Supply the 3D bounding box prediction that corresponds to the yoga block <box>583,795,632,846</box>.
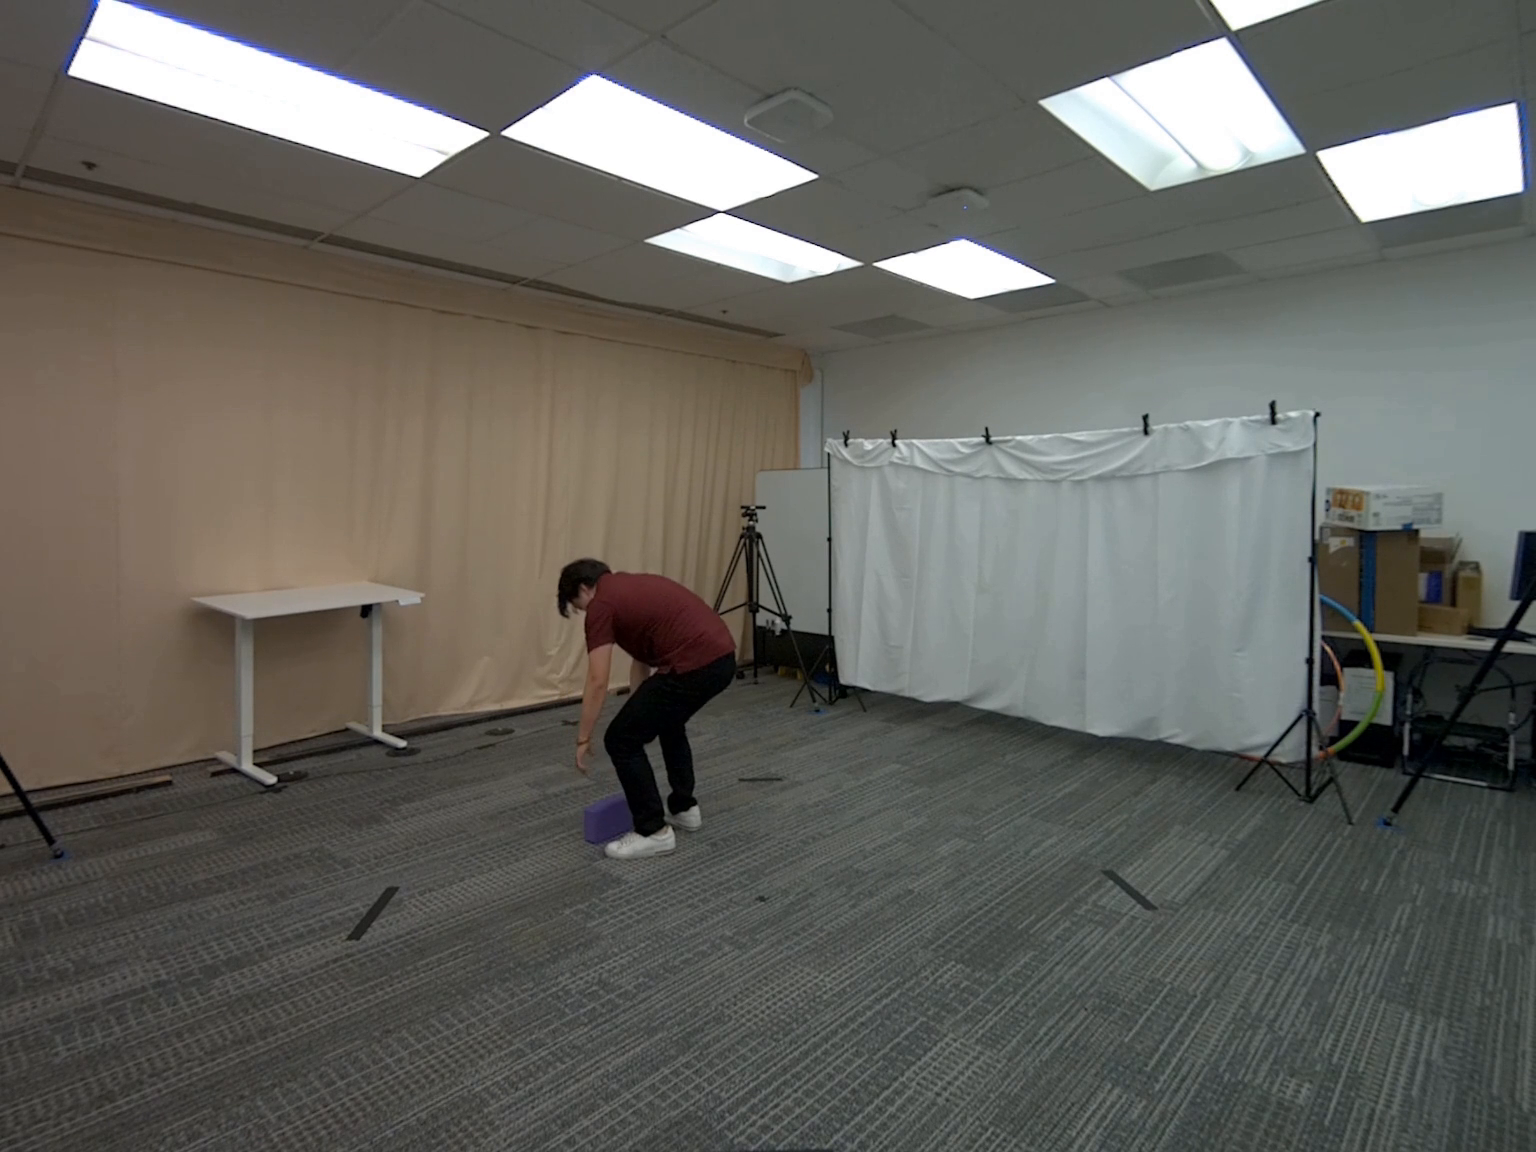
[{"bbox_3d":[-0.677,1.027,3.578,0.079,0.148,0.223,0,5,38],"label":"yoga block"}]
